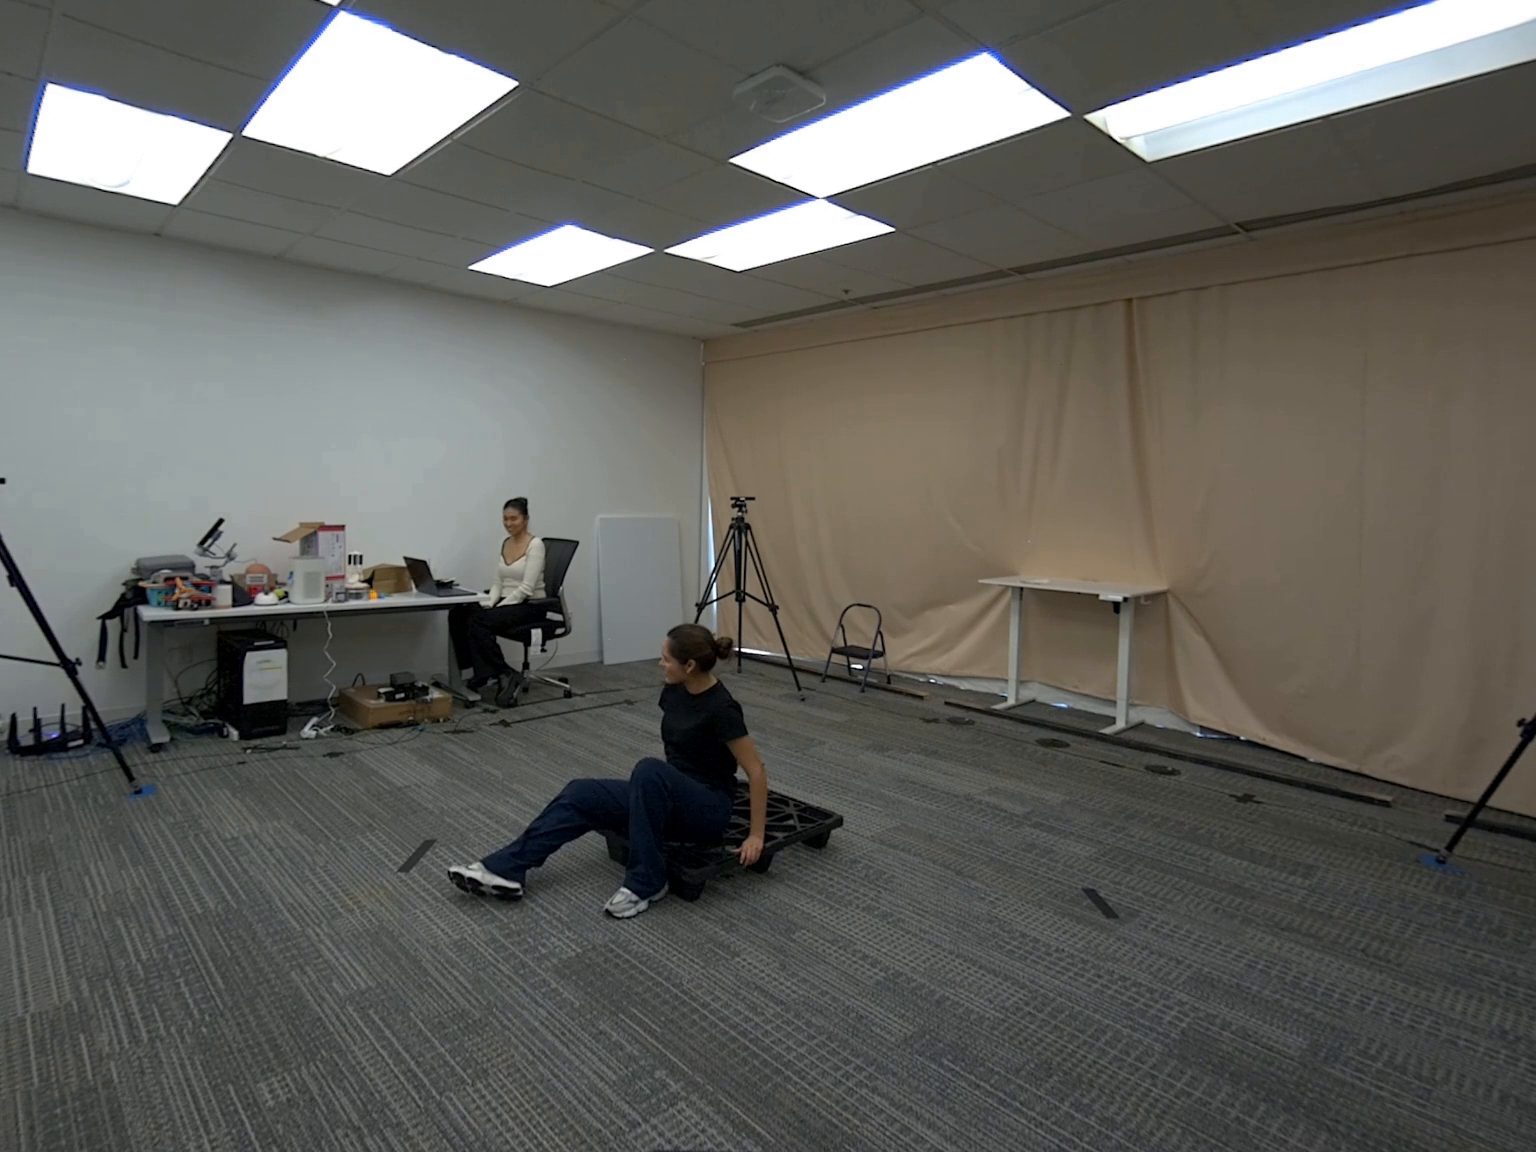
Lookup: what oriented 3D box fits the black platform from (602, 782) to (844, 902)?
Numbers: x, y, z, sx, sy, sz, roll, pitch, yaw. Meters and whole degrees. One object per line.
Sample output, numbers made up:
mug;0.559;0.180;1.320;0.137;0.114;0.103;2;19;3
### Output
black platform;-0.189;1.024;3.294;0.787;0.143;0.620;-4;6;-45
